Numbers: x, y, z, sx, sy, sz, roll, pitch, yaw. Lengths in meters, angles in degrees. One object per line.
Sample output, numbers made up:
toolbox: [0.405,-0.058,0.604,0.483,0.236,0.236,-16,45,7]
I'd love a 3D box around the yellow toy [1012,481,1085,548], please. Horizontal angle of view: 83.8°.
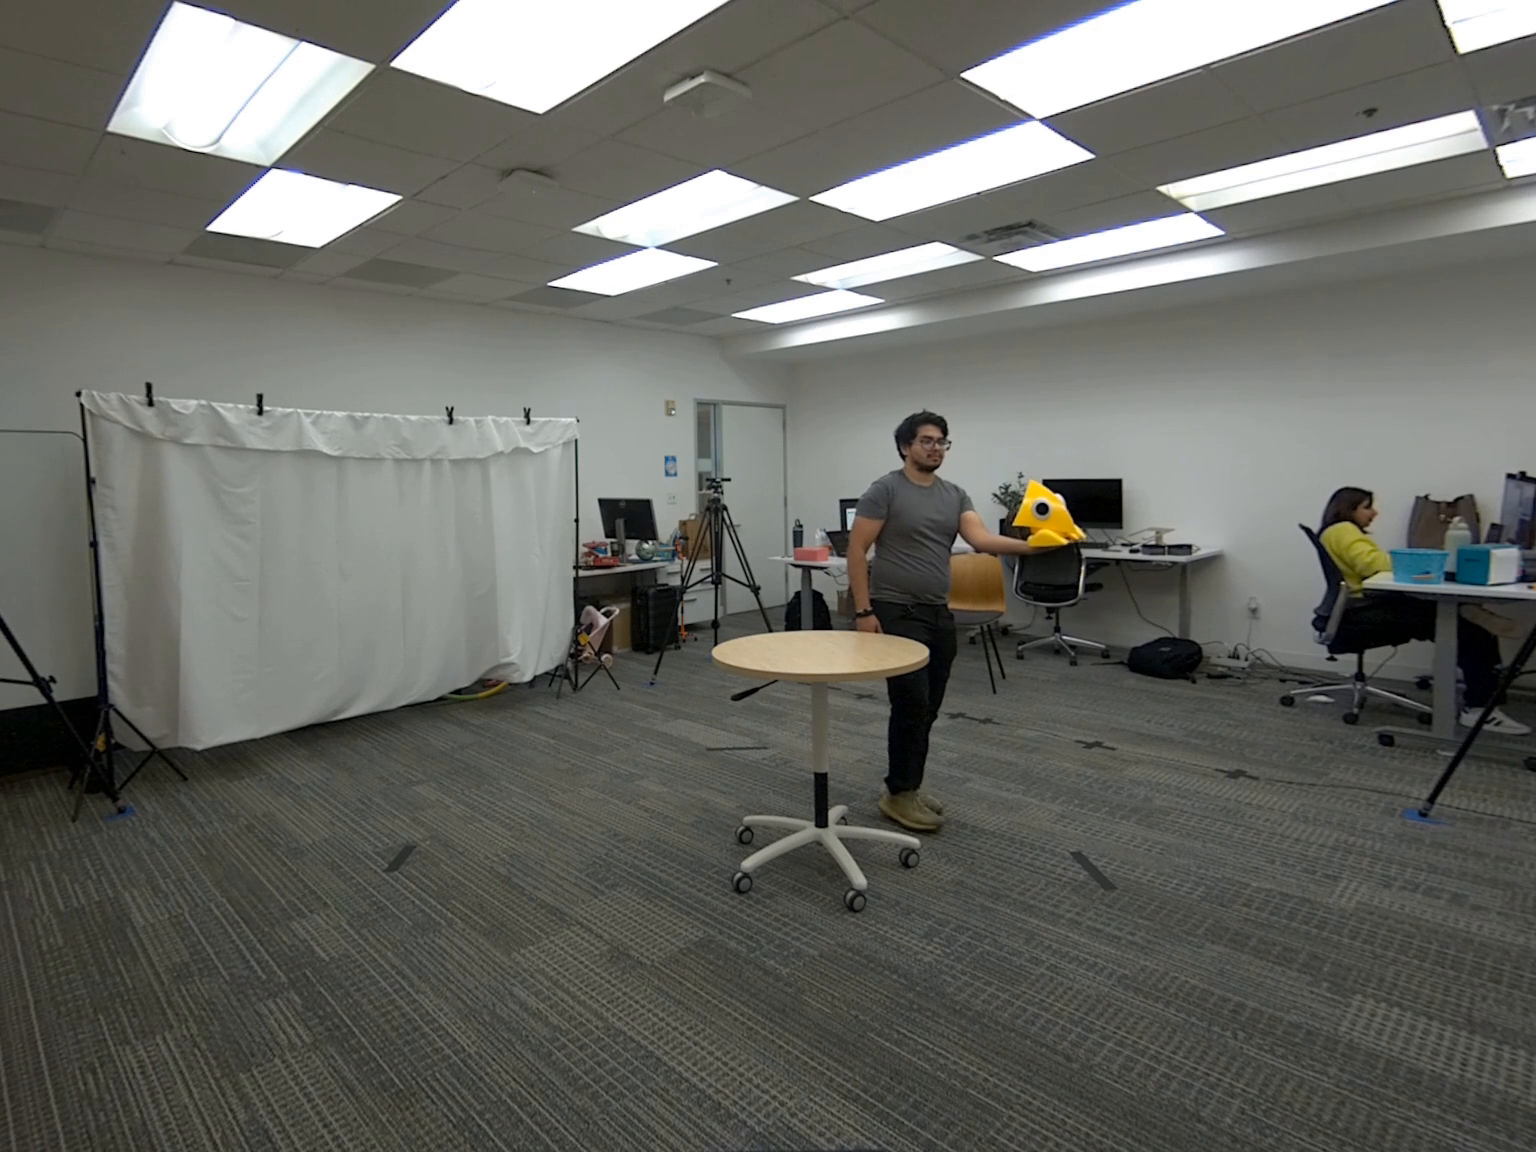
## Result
yellow toy: [1.030,-0.240,3.104,0.200,0.229,0.198,-13,8,-38]
